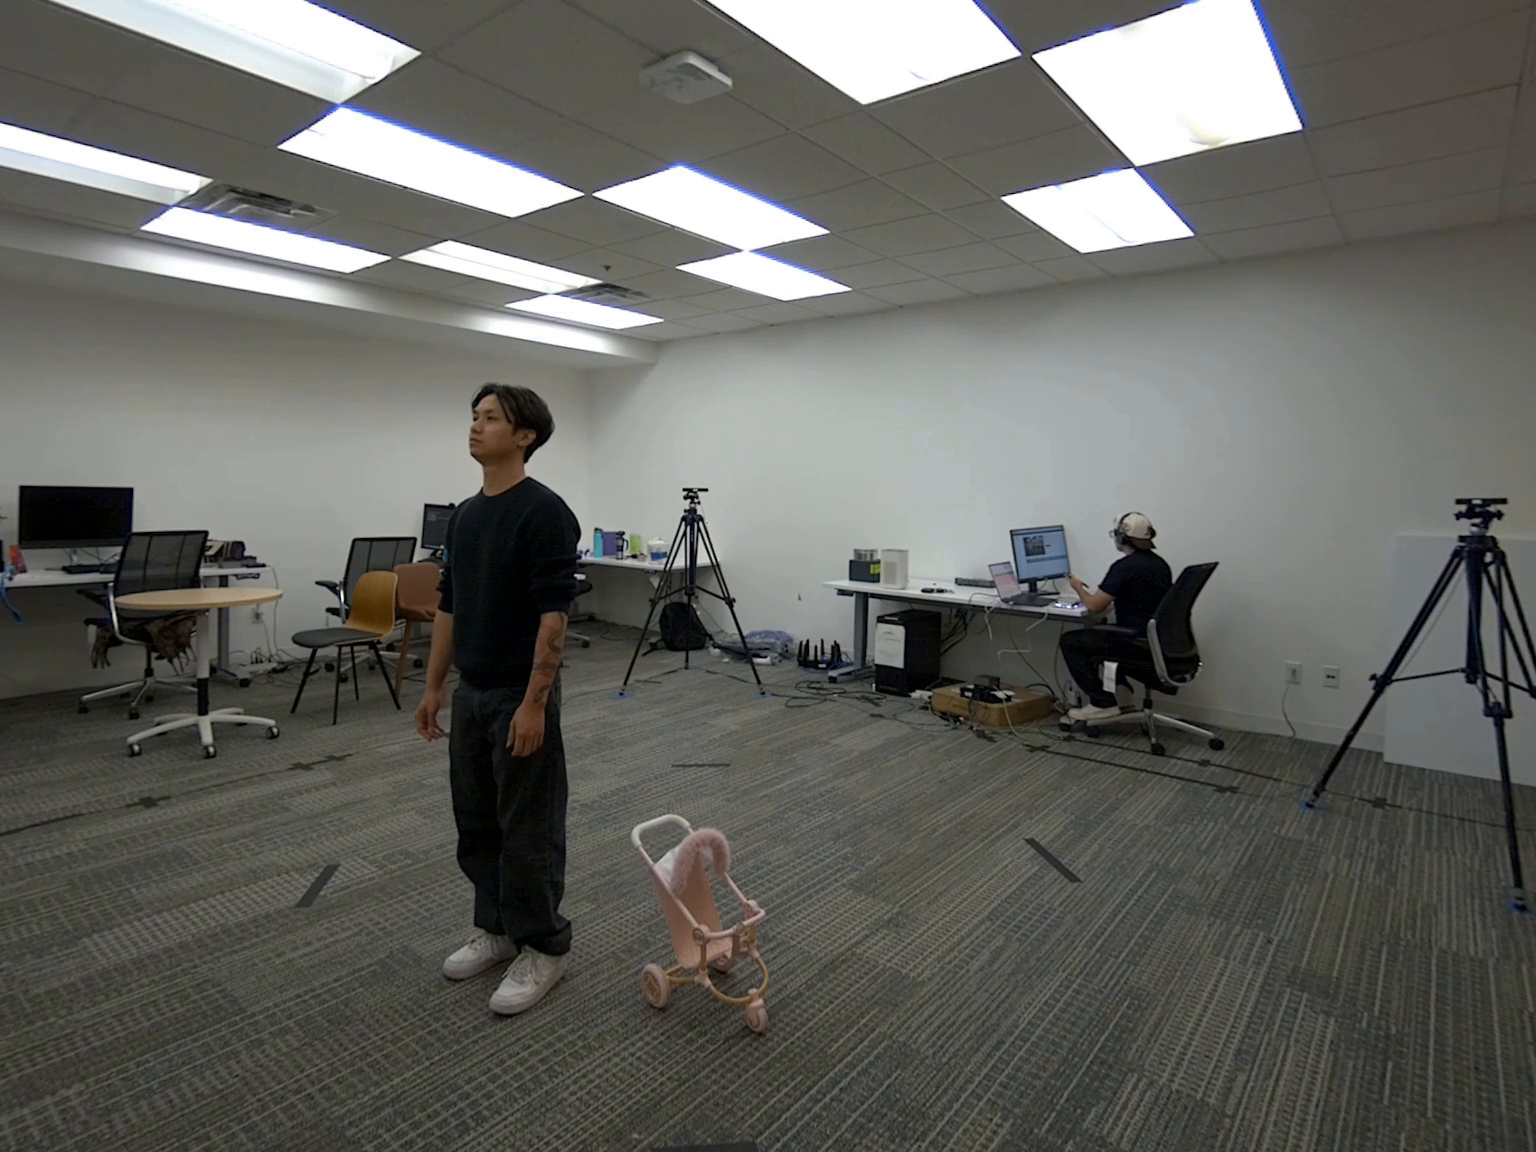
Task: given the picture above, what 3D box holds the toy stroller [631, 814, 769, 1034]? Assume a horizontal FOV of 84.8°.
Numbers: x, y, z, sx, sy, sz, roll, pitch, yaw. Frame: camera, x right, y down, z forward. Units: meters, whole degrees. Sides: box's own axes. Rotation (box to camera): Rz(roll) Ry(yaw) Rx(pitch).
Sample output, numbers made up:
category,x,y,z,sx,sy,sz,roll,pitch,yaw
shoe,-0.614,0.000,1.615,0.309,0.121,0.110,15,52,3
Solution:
category,x,y,z,sx,sy,sz,roll,pitch,yaw
toy stroller,-0.177,0.928,2.307,0.273,0.541,0.348,-3,-11,-43
